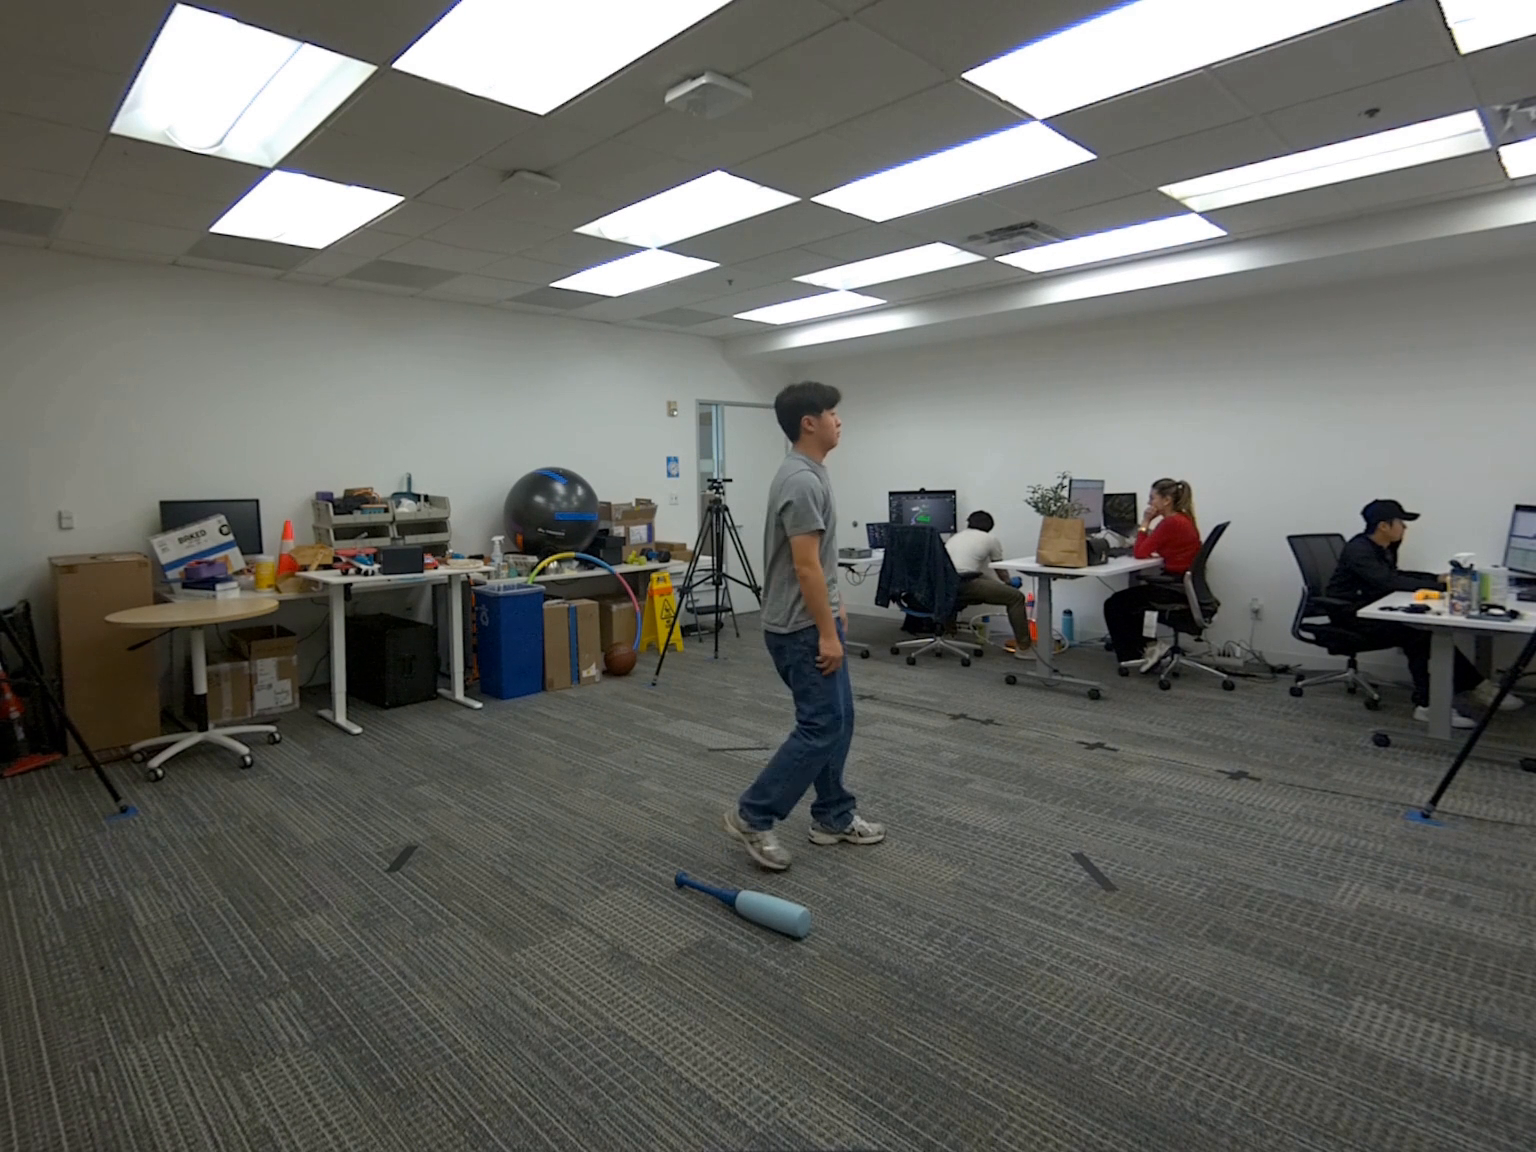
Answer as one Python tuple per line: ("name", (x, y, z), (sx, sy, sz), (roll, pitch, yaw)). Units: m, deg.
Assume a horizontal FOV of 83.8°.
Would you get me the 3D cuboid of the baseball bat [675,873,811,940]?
("baseball bat", (-0.095, 1.051, 2.761), (0.559, 0.089, 0.087), (2, 5, 41))
